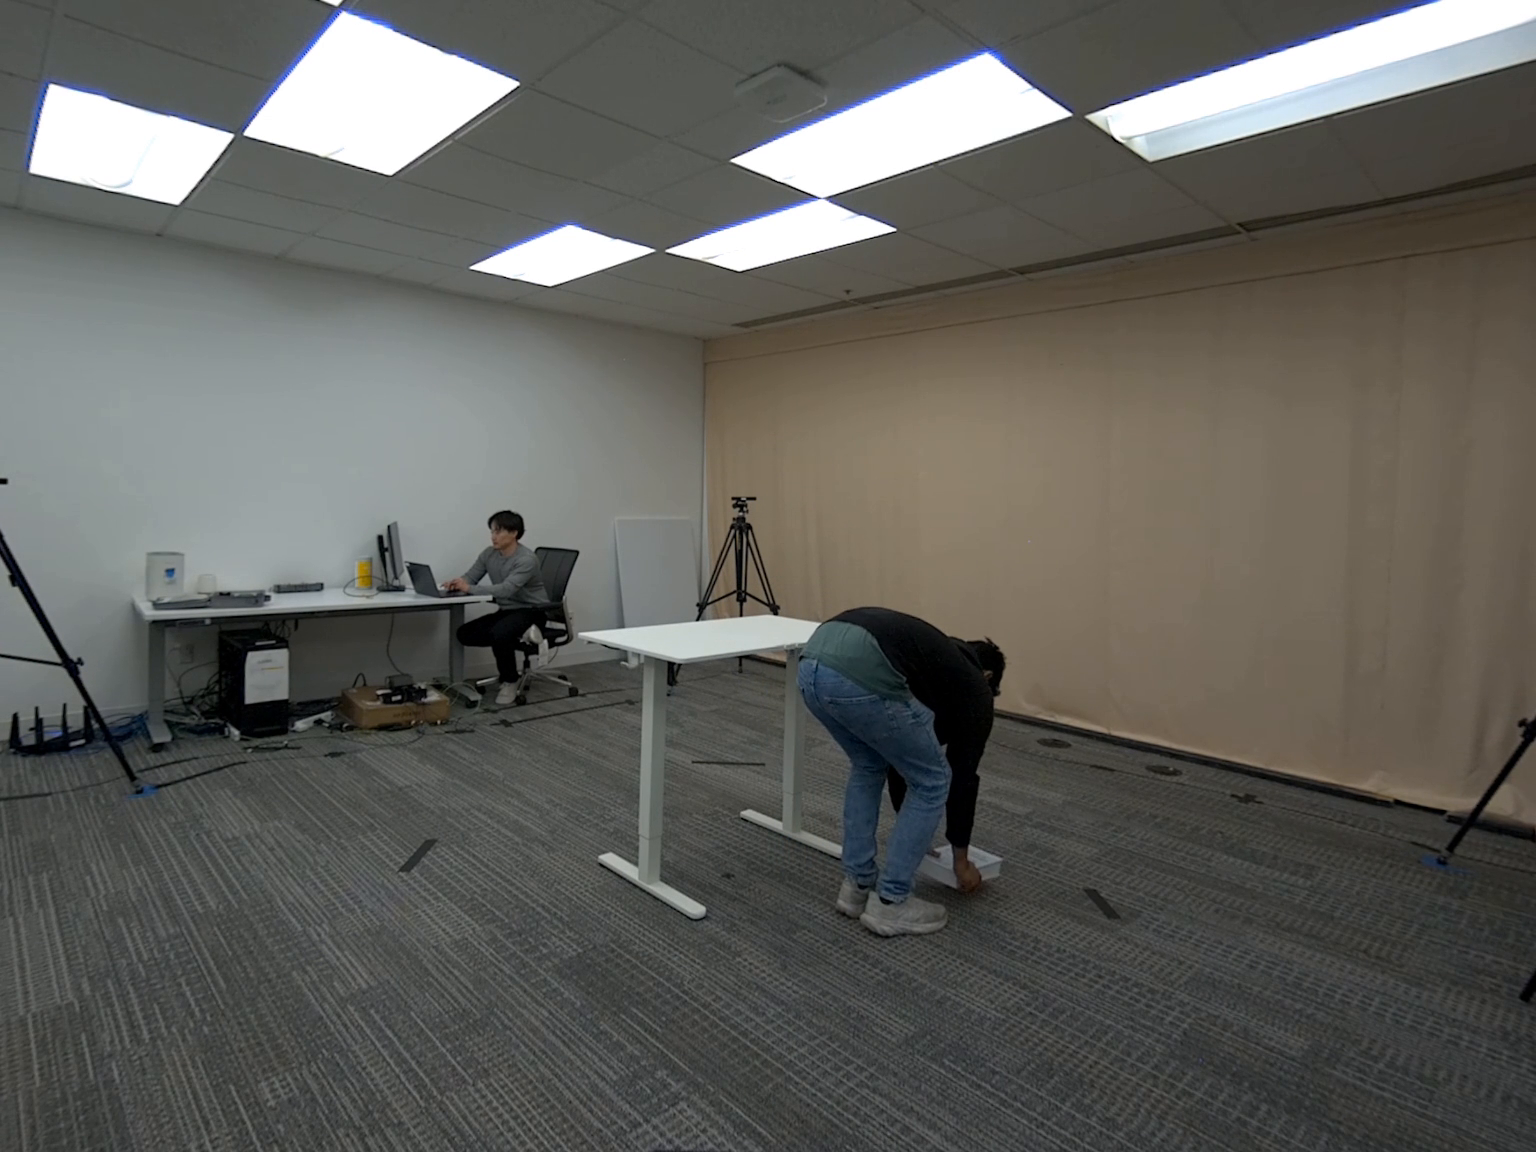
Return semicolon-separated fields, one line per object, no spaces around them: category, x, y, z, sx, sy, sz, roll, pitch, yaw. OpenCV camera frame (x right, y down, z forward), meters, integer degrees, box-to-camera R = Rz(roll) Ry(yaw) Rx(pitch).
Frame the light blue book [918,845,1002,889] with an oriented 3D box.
light blue book;0.682;1.028;3.037;0.255;0.059;0.196;0;6;-38
